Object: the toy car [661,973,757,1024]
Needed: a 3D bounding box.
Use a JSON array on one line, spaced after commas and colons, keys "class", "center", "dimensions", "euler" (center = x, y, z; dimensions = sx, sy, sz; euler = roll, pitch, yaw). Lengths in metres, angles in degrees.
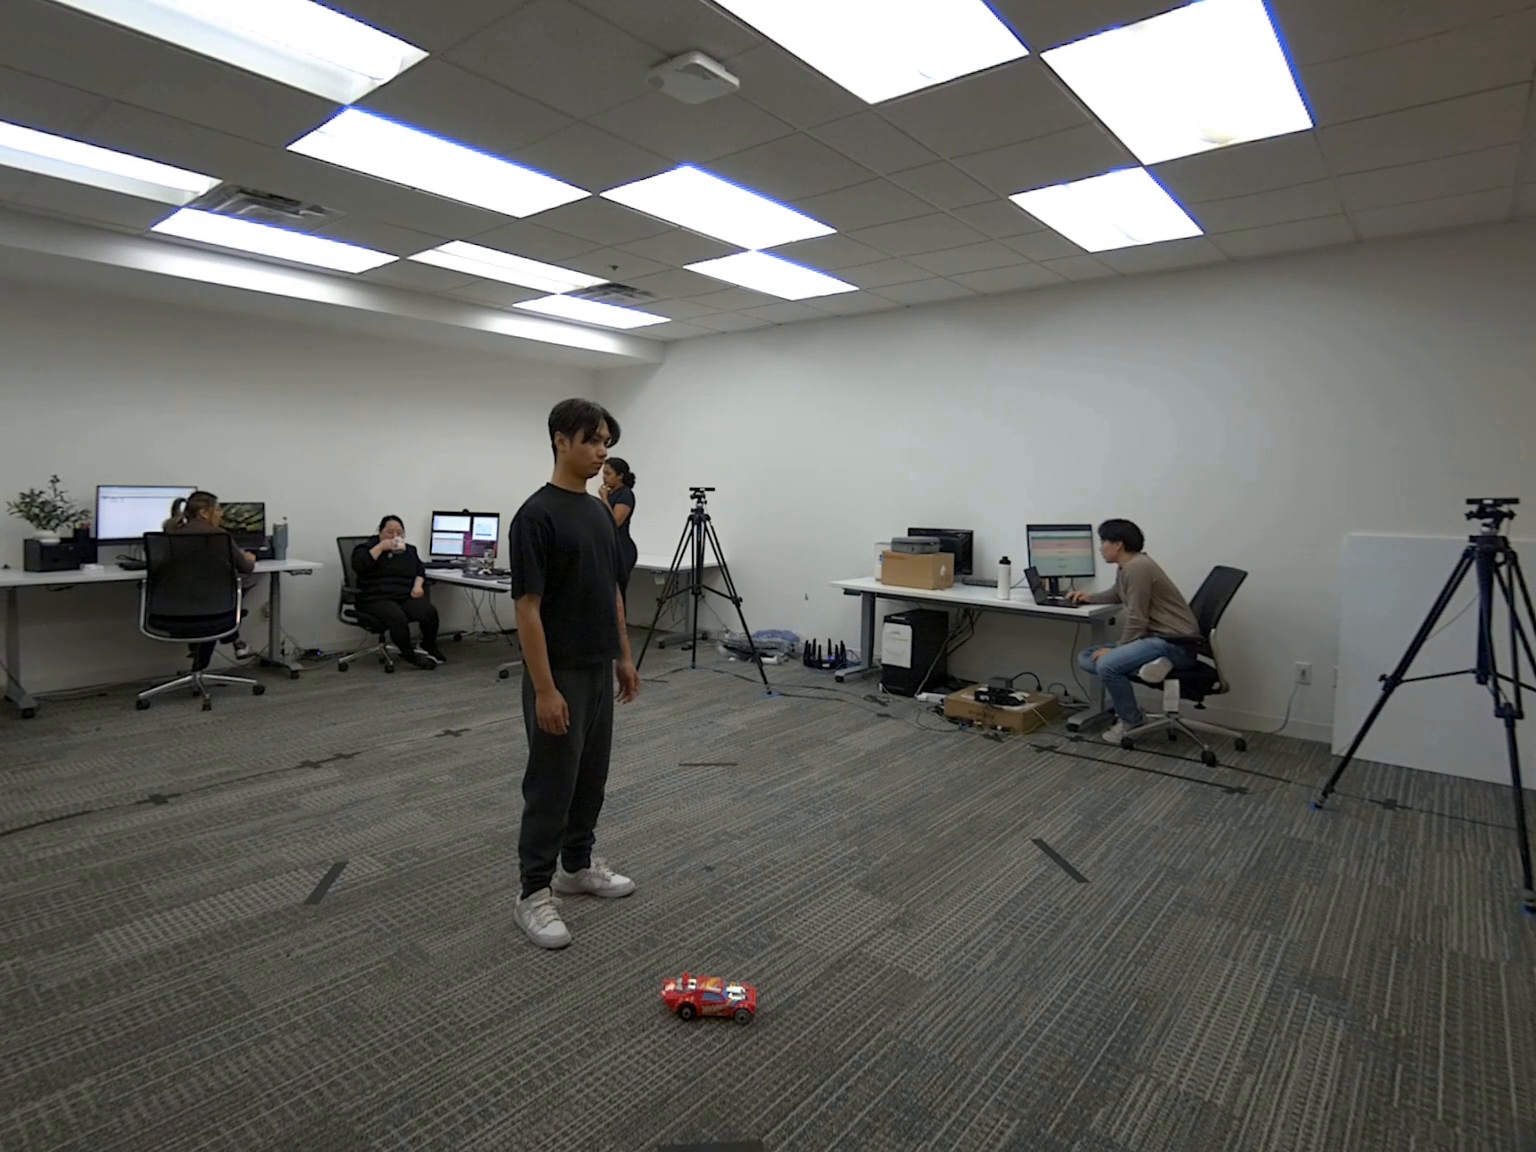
[{"class": "toy car", "center": [-0.165, 1.121, 2.264], "dimensions": [0.255, 0.083, 0.130], "euler": [12, 4, 2]}]
